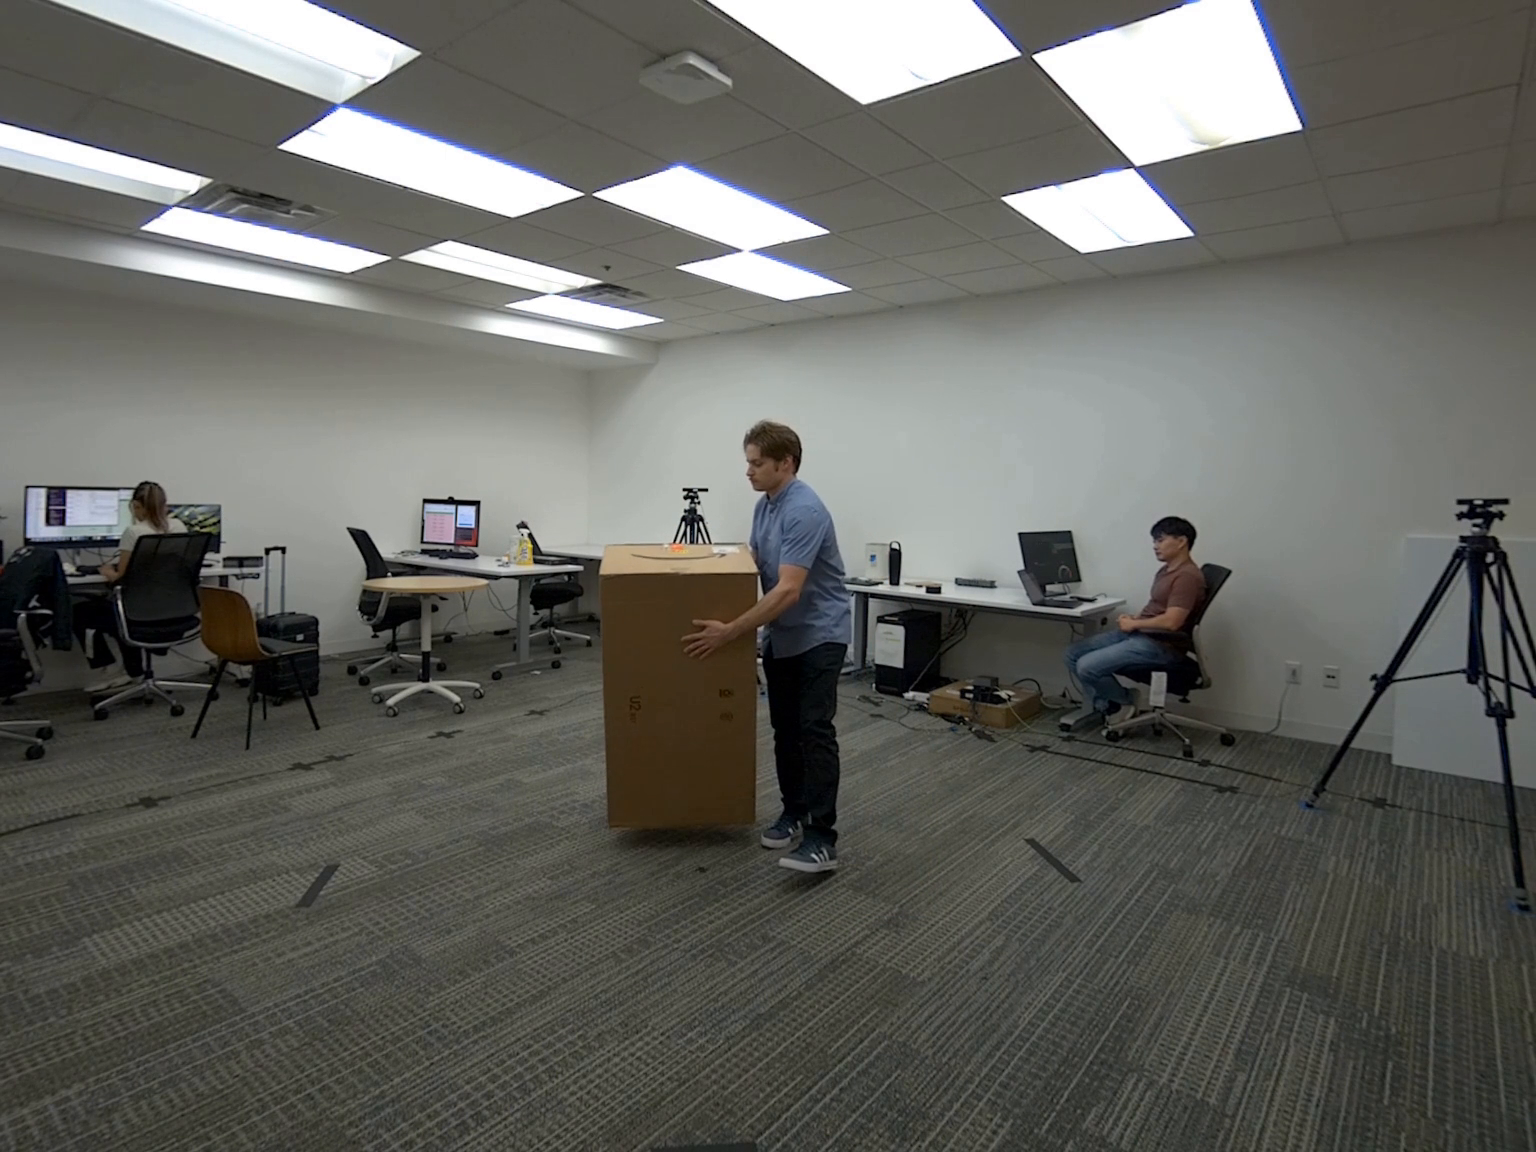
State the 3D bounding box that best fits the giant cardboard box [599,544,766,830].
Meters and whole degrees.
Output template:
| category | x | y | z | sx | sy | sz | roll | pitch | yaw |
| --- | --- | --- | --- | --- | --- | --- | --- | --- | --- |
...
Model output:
| category | x | y | z | sx | sy | sz | roll | pitch | yaw |
| --- | --- | --- | --- | --- | --- | --- | --- | --- | --- |
| giant cardboard box | -0.360 | 0.417 | 3.355 | 0.581 | 1.014 | 0.455 | -1 | 14 | -5 |
